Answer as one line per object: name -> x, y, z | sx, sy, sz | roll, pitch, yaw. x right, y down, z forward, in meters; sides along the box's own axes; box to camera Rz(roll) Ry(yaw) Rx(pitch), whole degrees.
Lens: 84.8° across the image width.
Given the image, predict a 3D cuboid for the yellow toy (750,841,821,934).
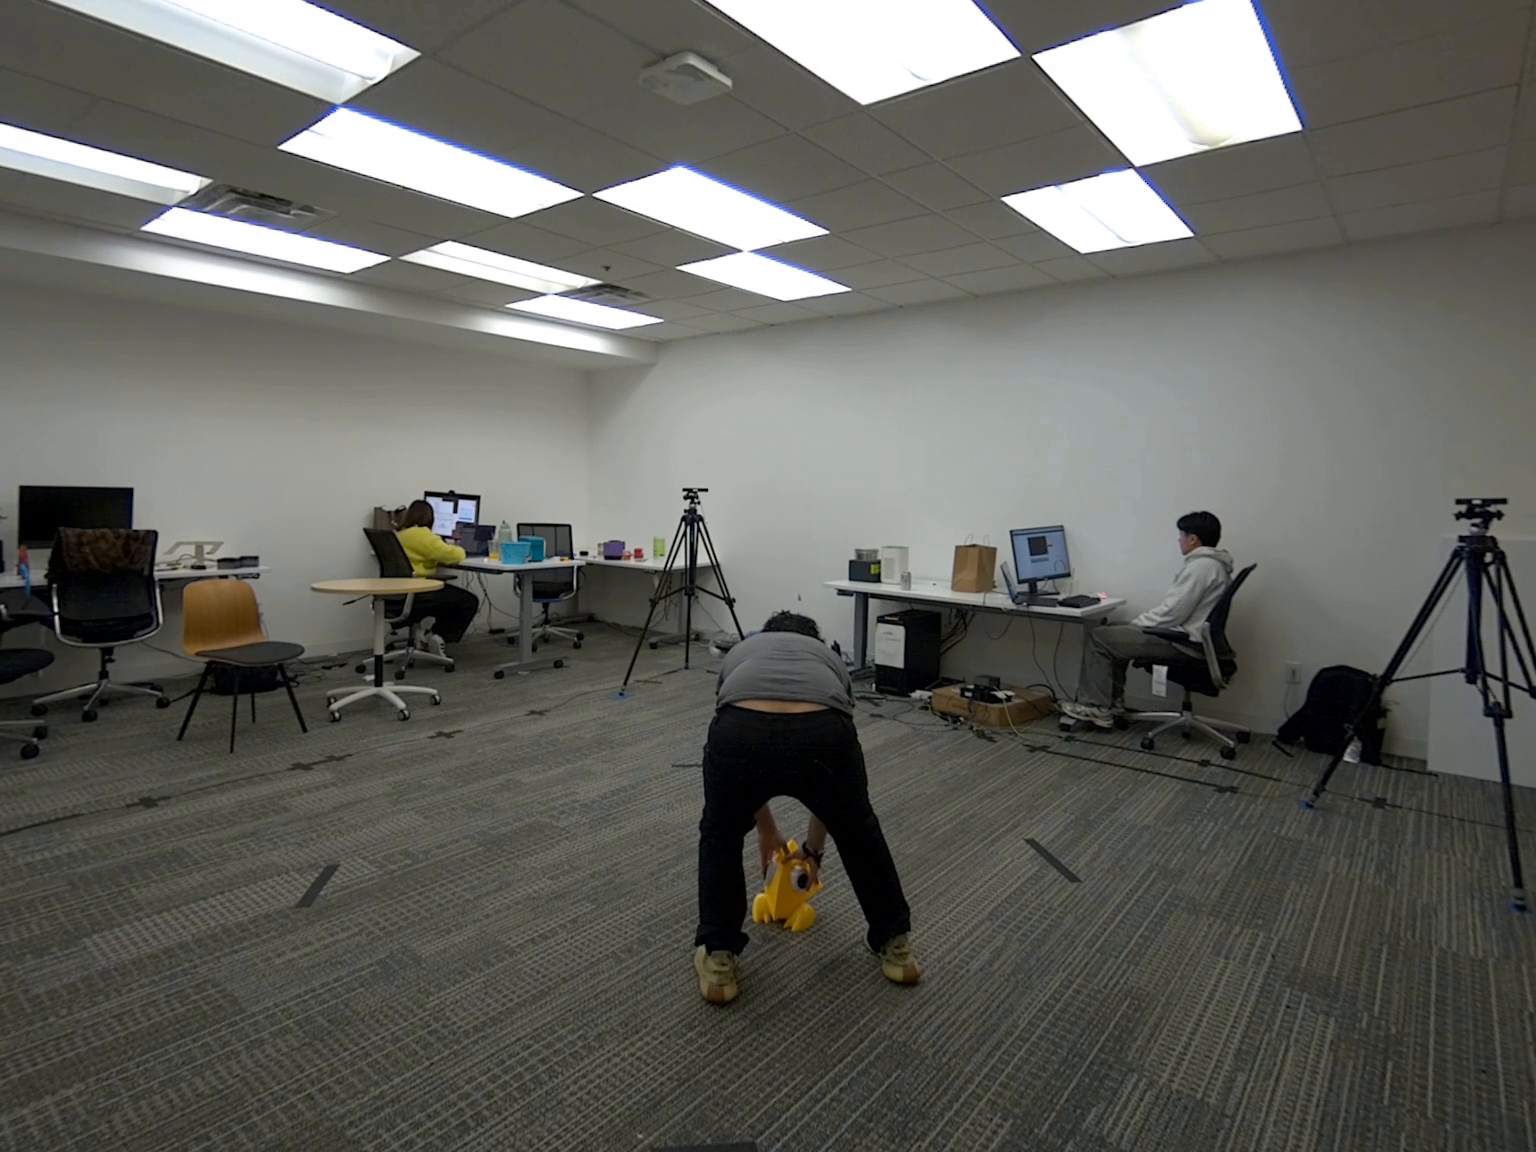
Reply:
yellow toy -> 0.046, 0.997, 2.779 | 0.210, 0.230, 0.189 | 3, 4, 22
